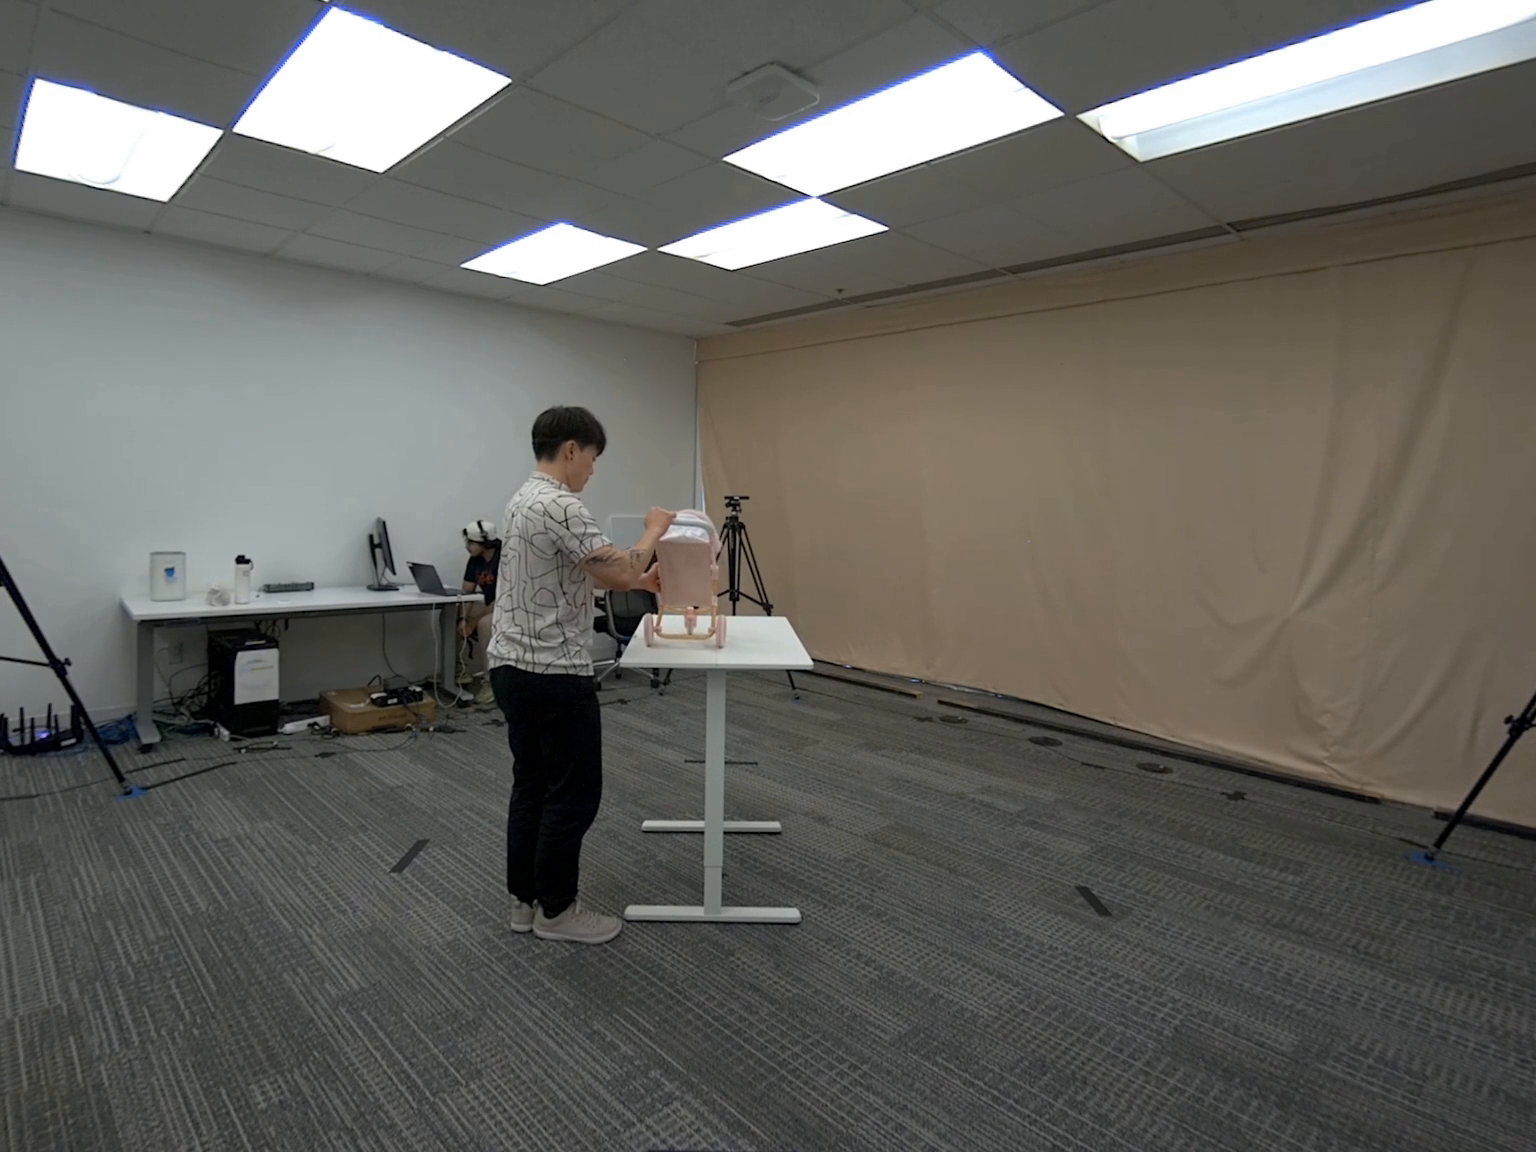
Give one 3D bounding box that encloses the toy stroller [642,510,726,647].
[{"bbox_3d":[-0.286,0.012,2.926,0.283,0.528,0.344,2,18,4],"label":"toy stroller"}]
